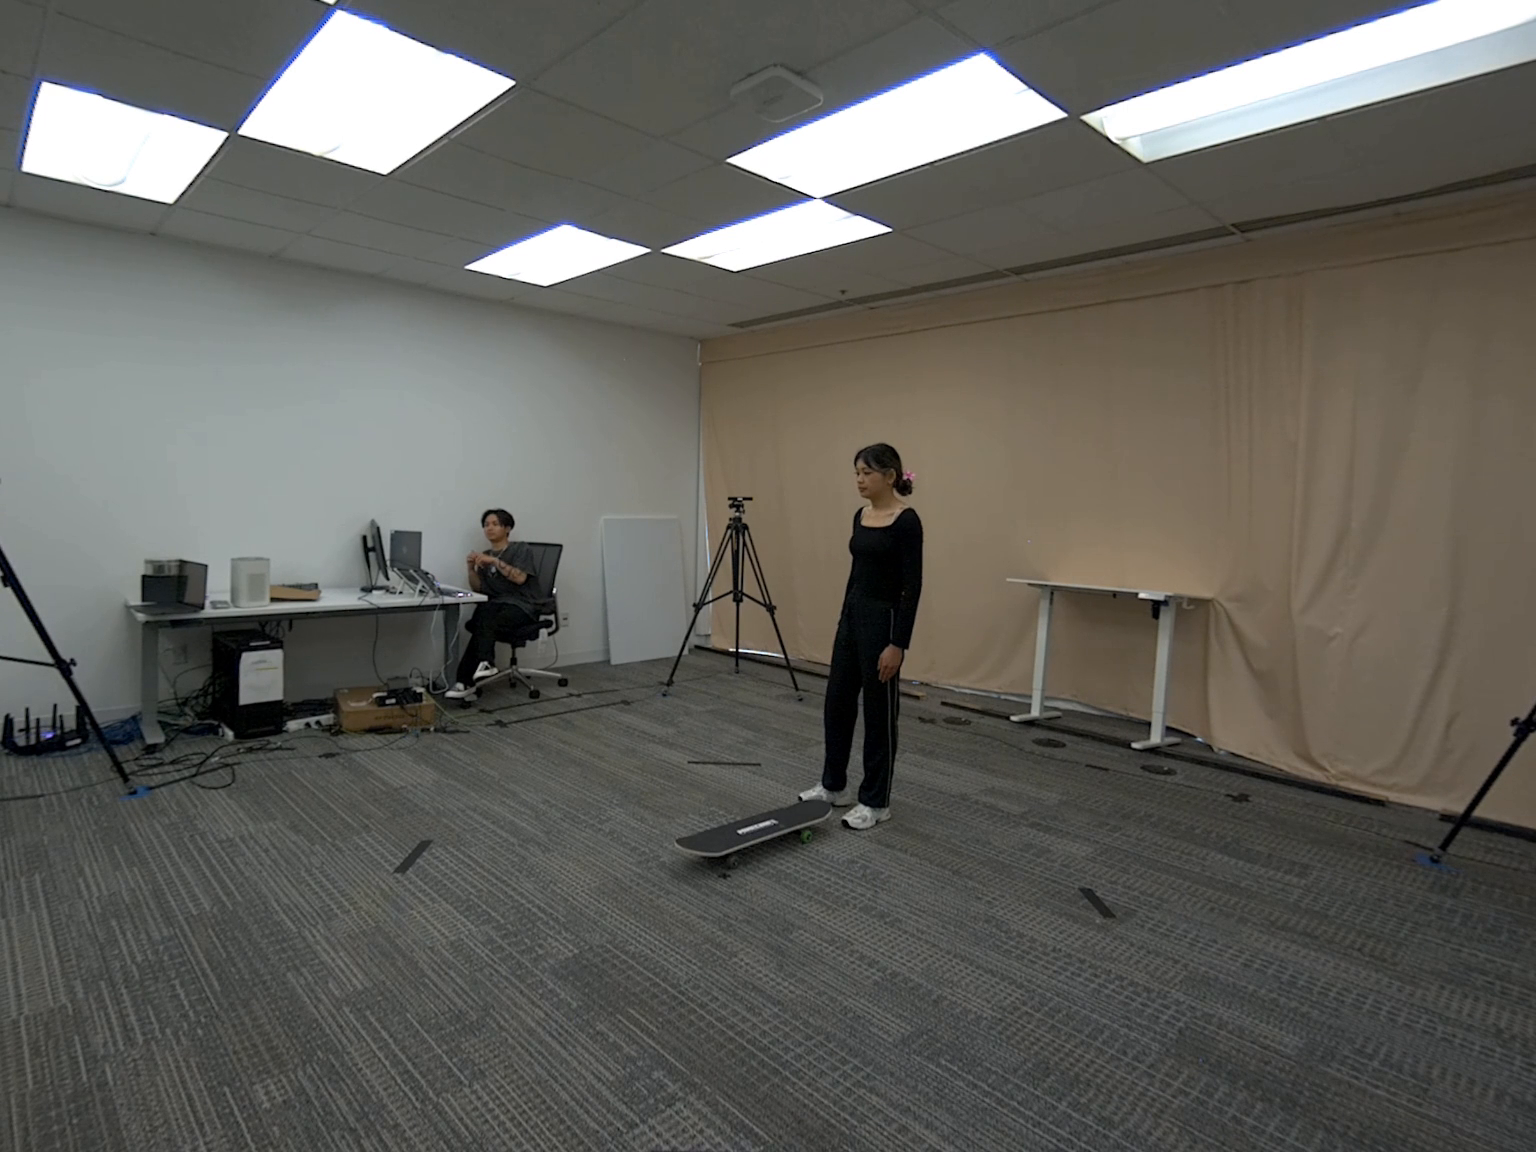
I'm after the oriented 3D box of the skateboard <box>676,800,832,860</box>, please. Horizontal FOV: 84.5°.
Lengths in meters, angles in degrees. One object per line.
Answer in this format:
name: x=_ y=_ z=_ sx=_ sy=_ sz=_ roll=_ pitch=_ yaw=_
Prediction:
skateboard: x=-0.046 y=1.033 z=3.356 sx=0.767 sy=0.110 sz=0.198 roll=-3 pitch=7 yaw=-43
